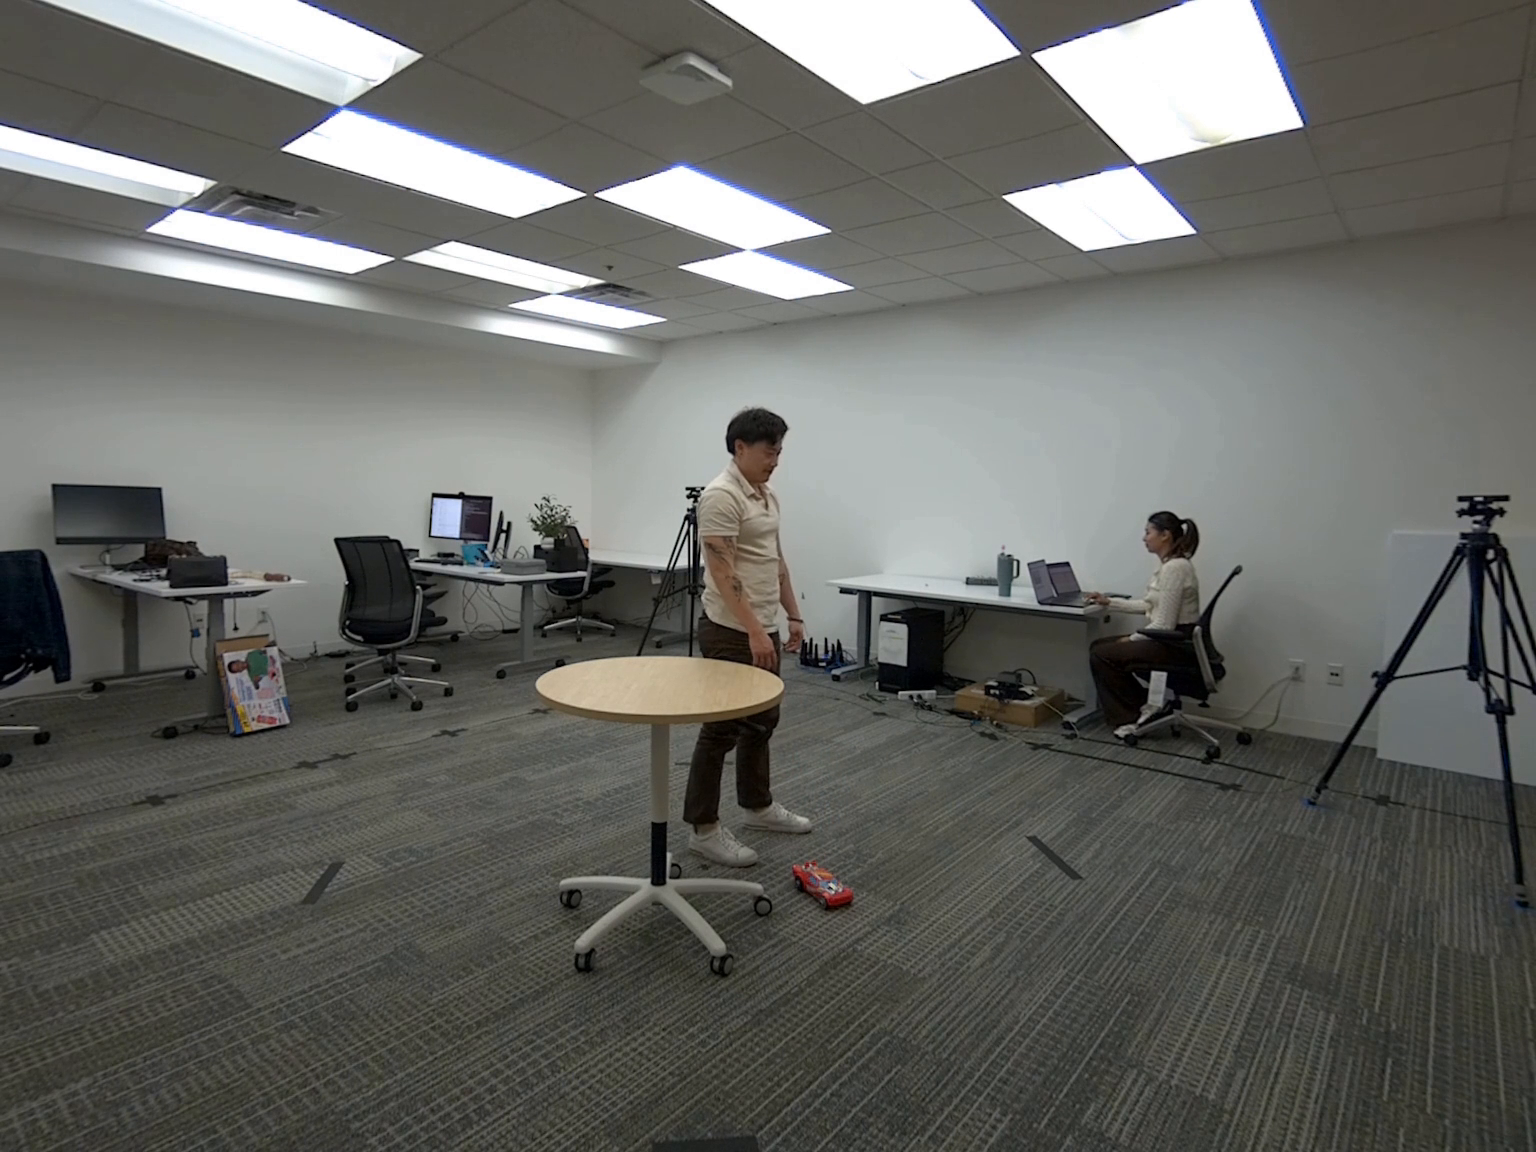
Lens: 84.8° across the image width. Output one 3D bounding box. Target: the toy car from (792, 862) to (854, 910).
[{"bbox_3d":[0.177,1.060,2.927,0.127,0.082,0.264,-2,17,-29],"label":"toy car"}]
